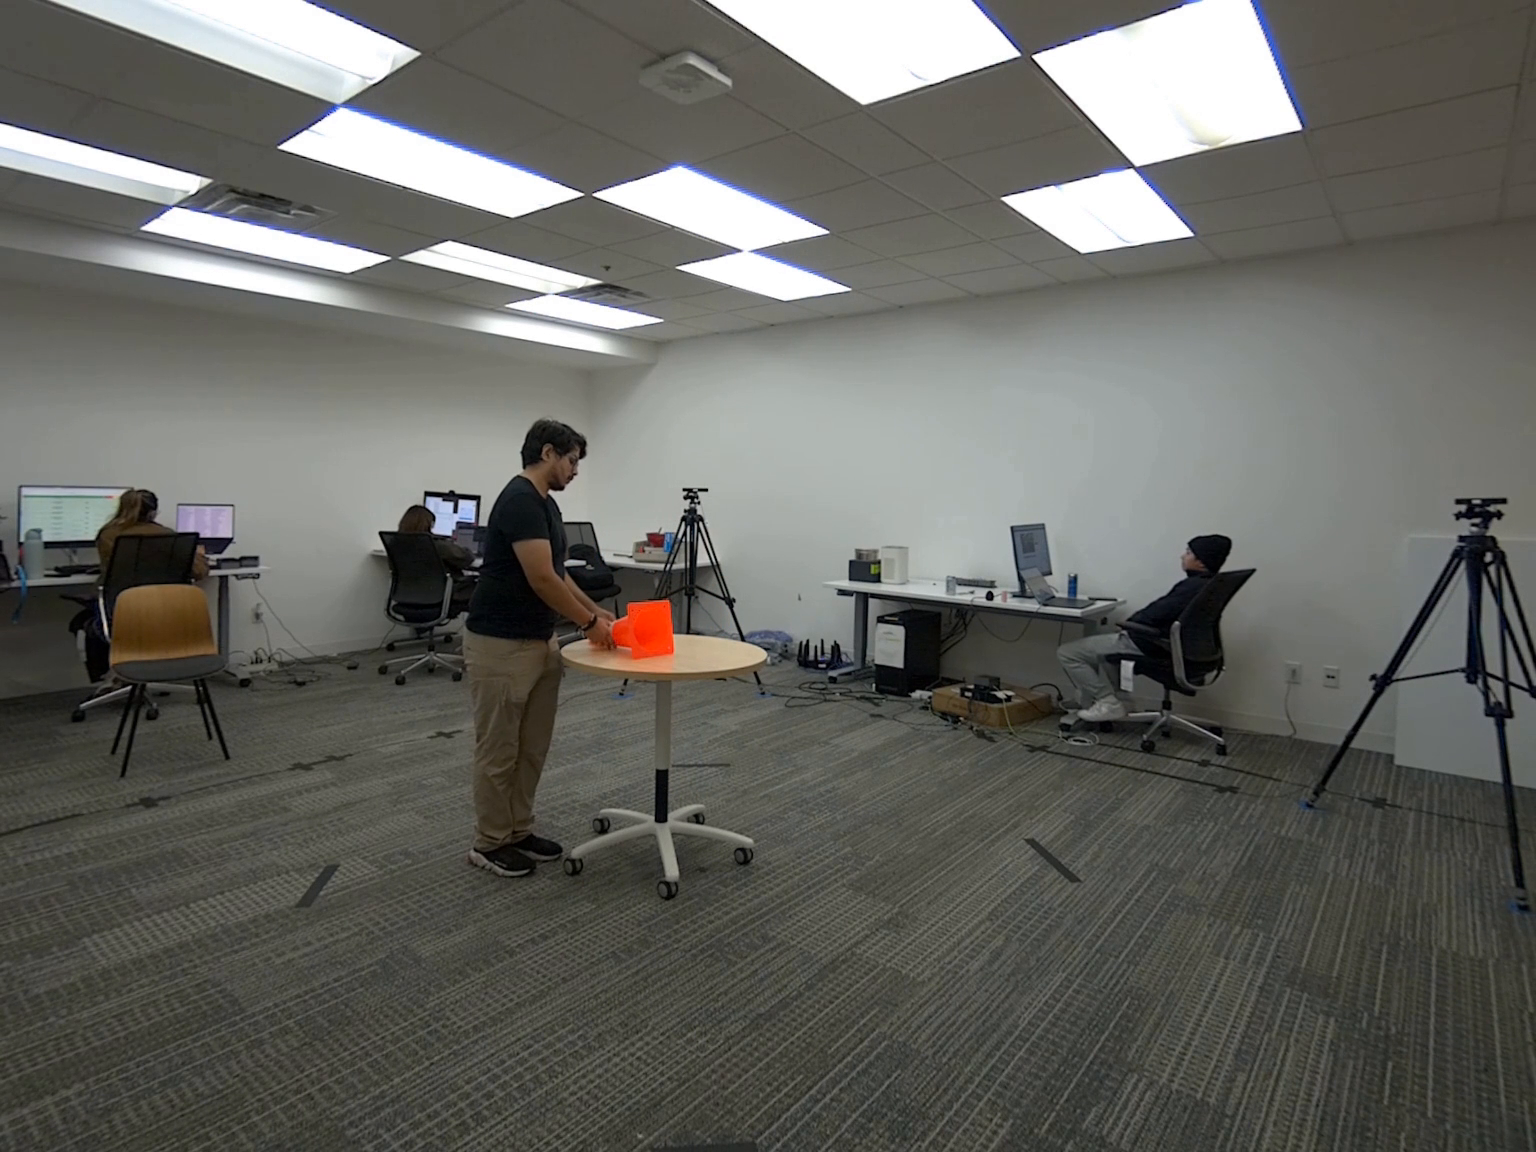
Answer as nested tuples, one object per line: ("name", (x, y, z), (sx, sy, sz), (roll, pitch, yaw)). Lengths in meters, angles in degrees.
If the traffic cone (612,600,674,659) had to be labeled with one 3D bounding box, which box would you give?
("traffic cone", (-0.560, 0.212, 3.195), (0.199, 0.204, 0.394), (-3, -4, -44))
